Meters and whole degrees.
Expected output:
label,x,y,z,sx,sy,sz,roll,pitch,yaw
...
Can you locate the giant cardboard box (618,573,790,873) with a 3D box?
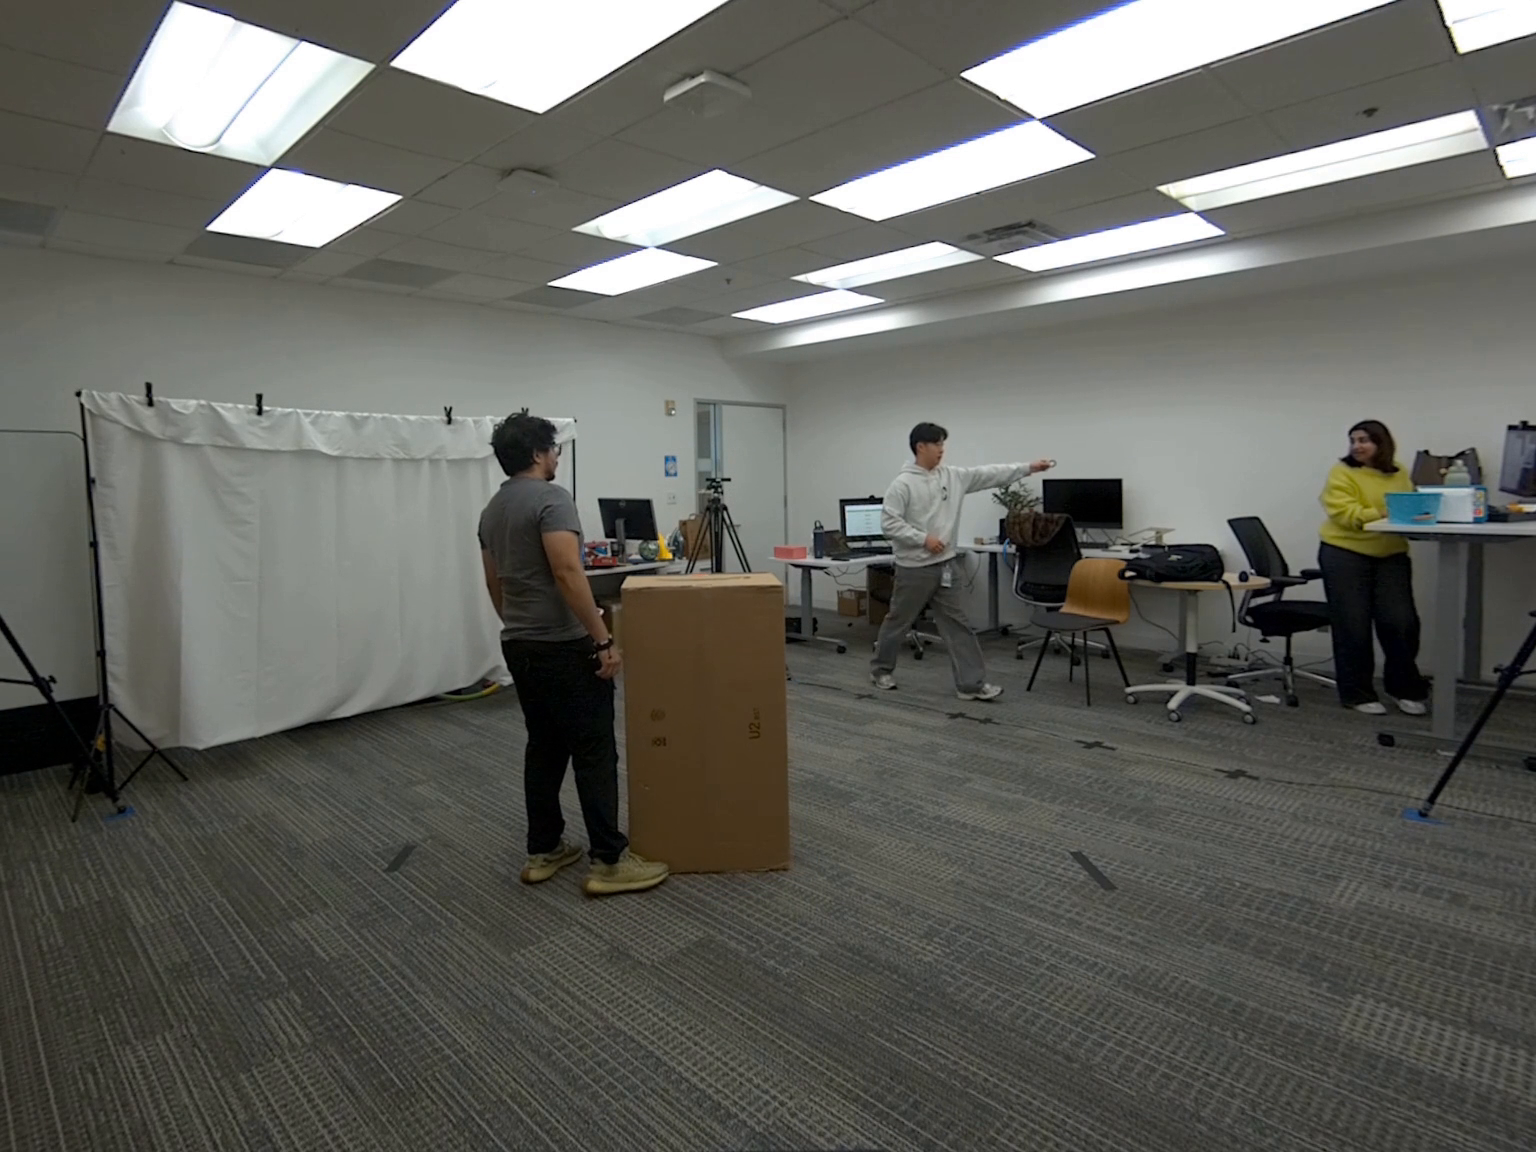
label,x,y,z,sx,sy,sz,roll,pitch,yaw
giant cardboard box,-0.234,0.524,3.212,0.582,1.023,0.450,-2,4,-4
